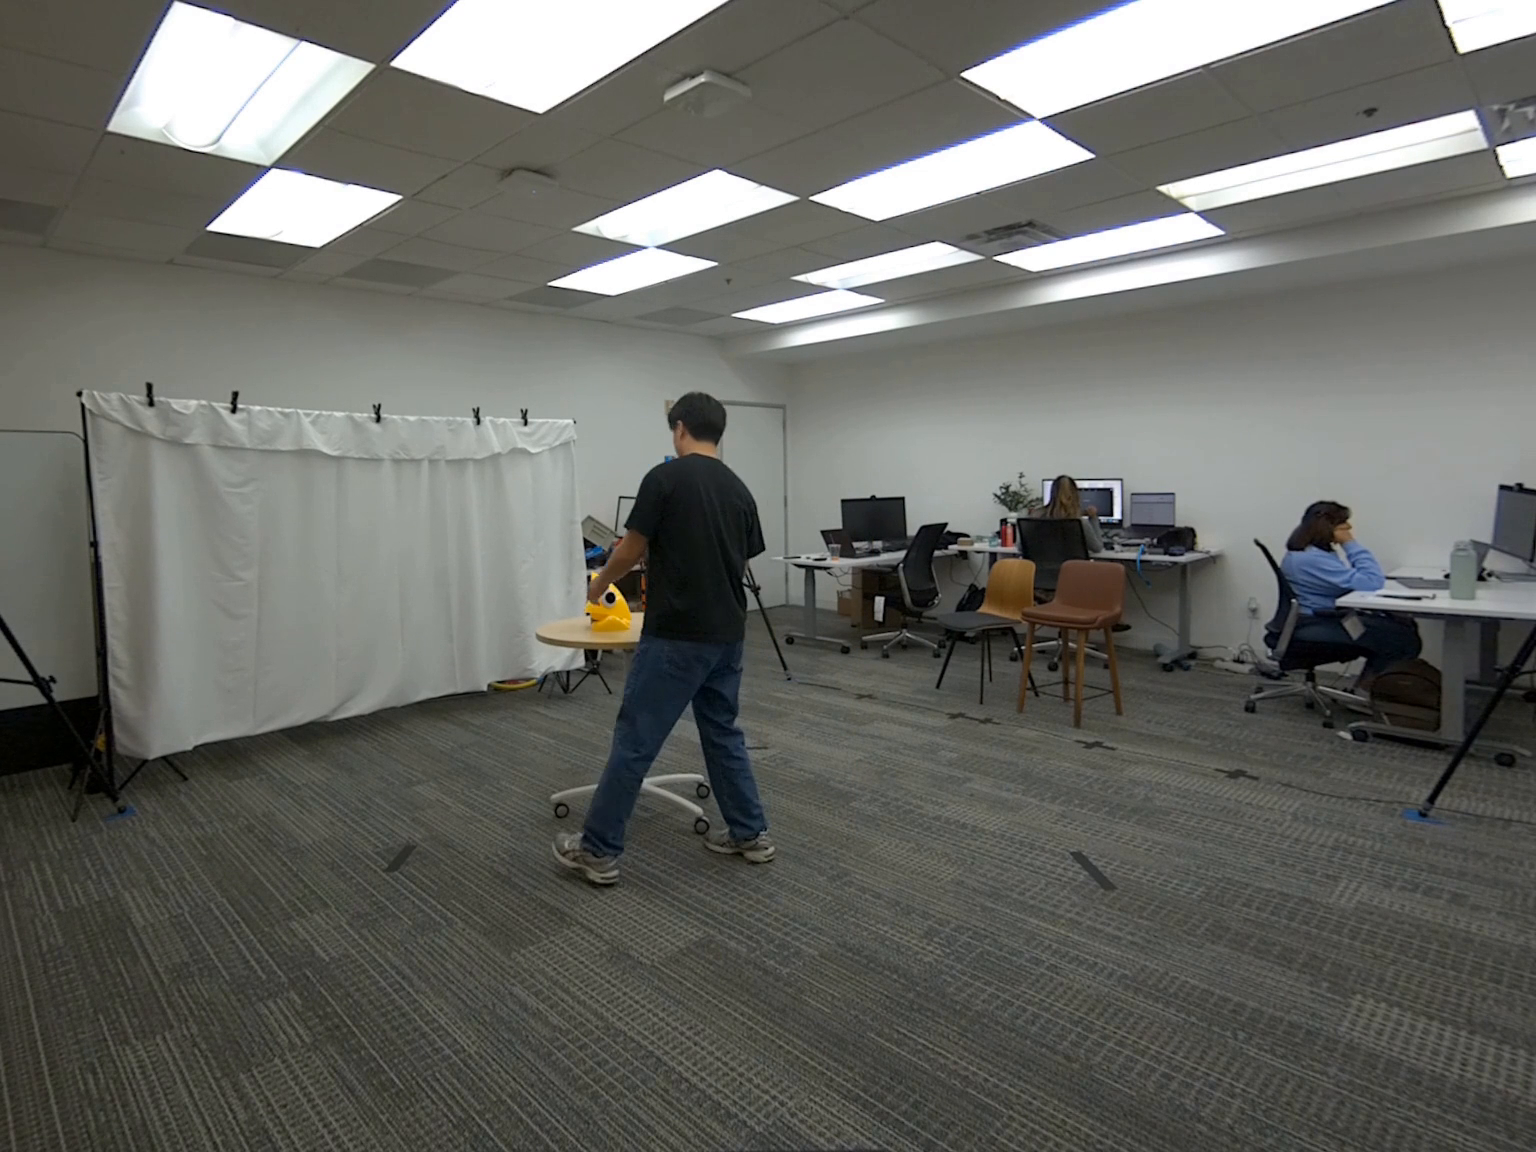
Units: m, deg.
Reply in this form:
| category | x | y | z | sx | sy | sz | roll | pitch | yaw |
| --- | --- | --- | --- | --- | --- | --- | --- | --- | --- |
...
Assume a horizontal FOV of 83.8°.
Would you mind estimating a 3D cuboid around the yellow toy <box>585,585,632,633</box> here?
| category | x | y | z | sx | sy | sz | roll | pitch | yaw |
| --- | --- | --- | --- | --- | --- | --- | --- | --- | --- |
| yellow toy | -0.655 | 0.096 | 3.507 | 0.192 | 0.230 | 0.207 | -2 | 5 | -8 |
